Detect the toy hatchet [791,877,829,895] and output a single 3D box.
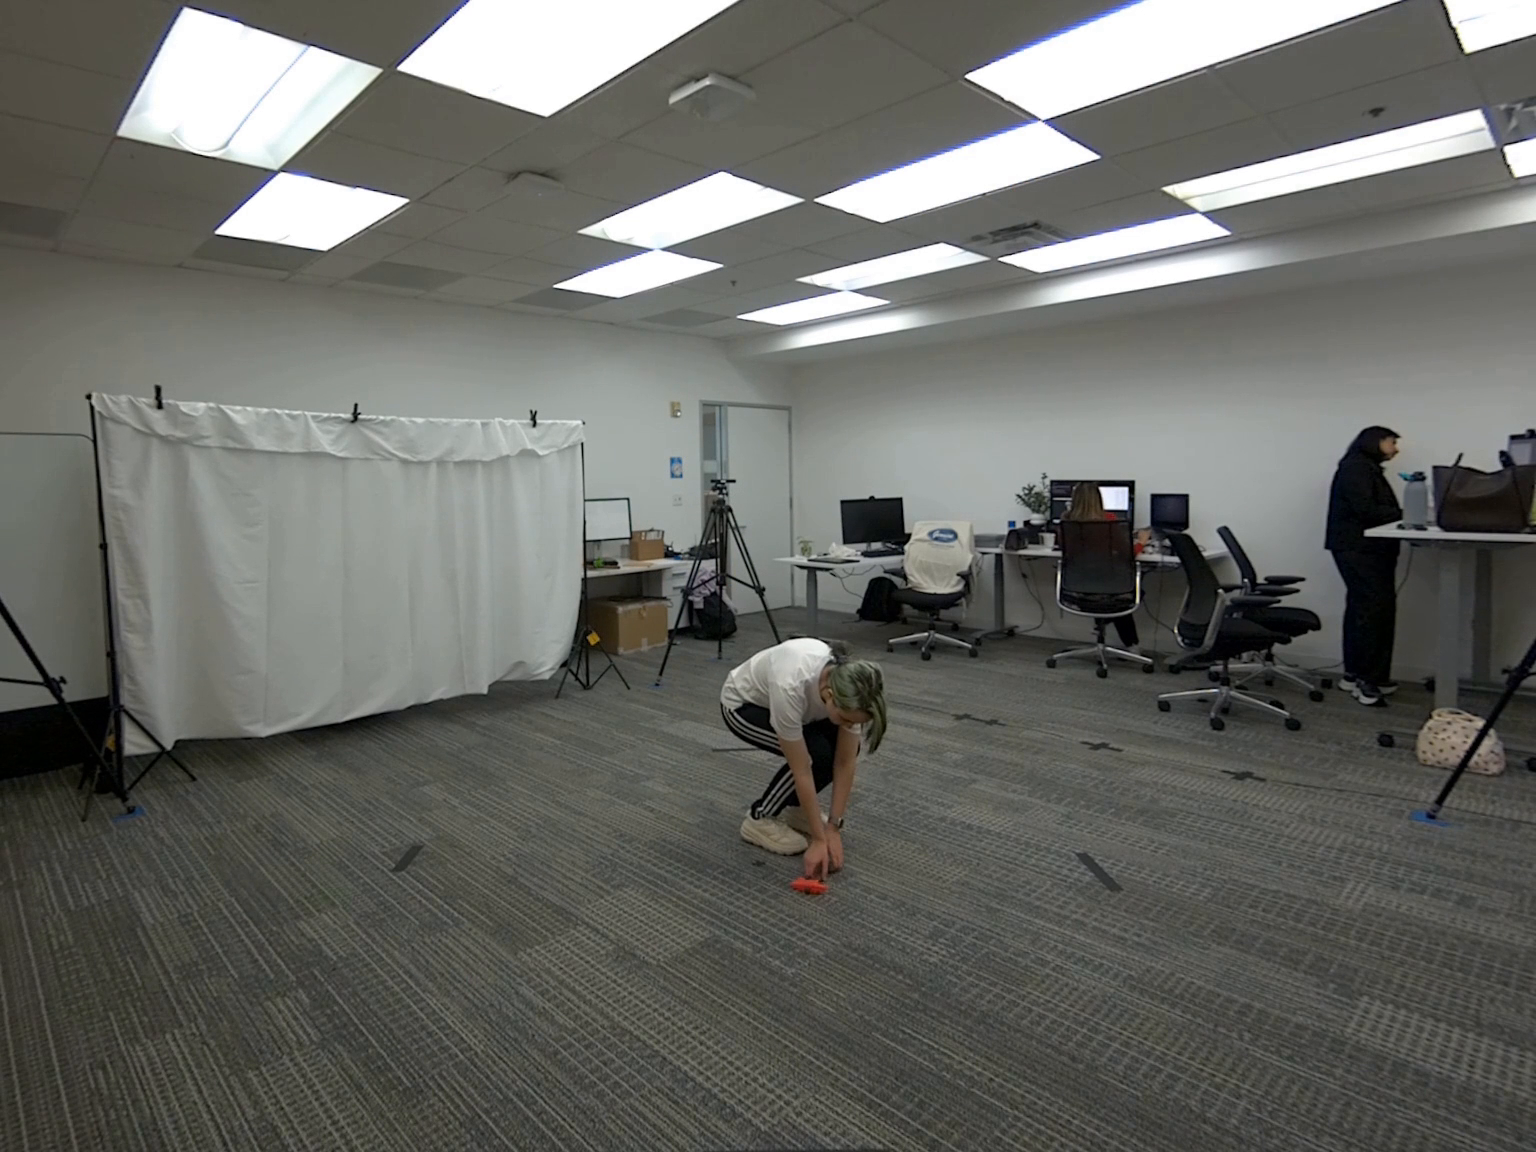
[{"bbox_3d":[0.148,1.048,3.000,0.131,0.029,0.269,-7,1,3],"label":"toy hatchet"}]
